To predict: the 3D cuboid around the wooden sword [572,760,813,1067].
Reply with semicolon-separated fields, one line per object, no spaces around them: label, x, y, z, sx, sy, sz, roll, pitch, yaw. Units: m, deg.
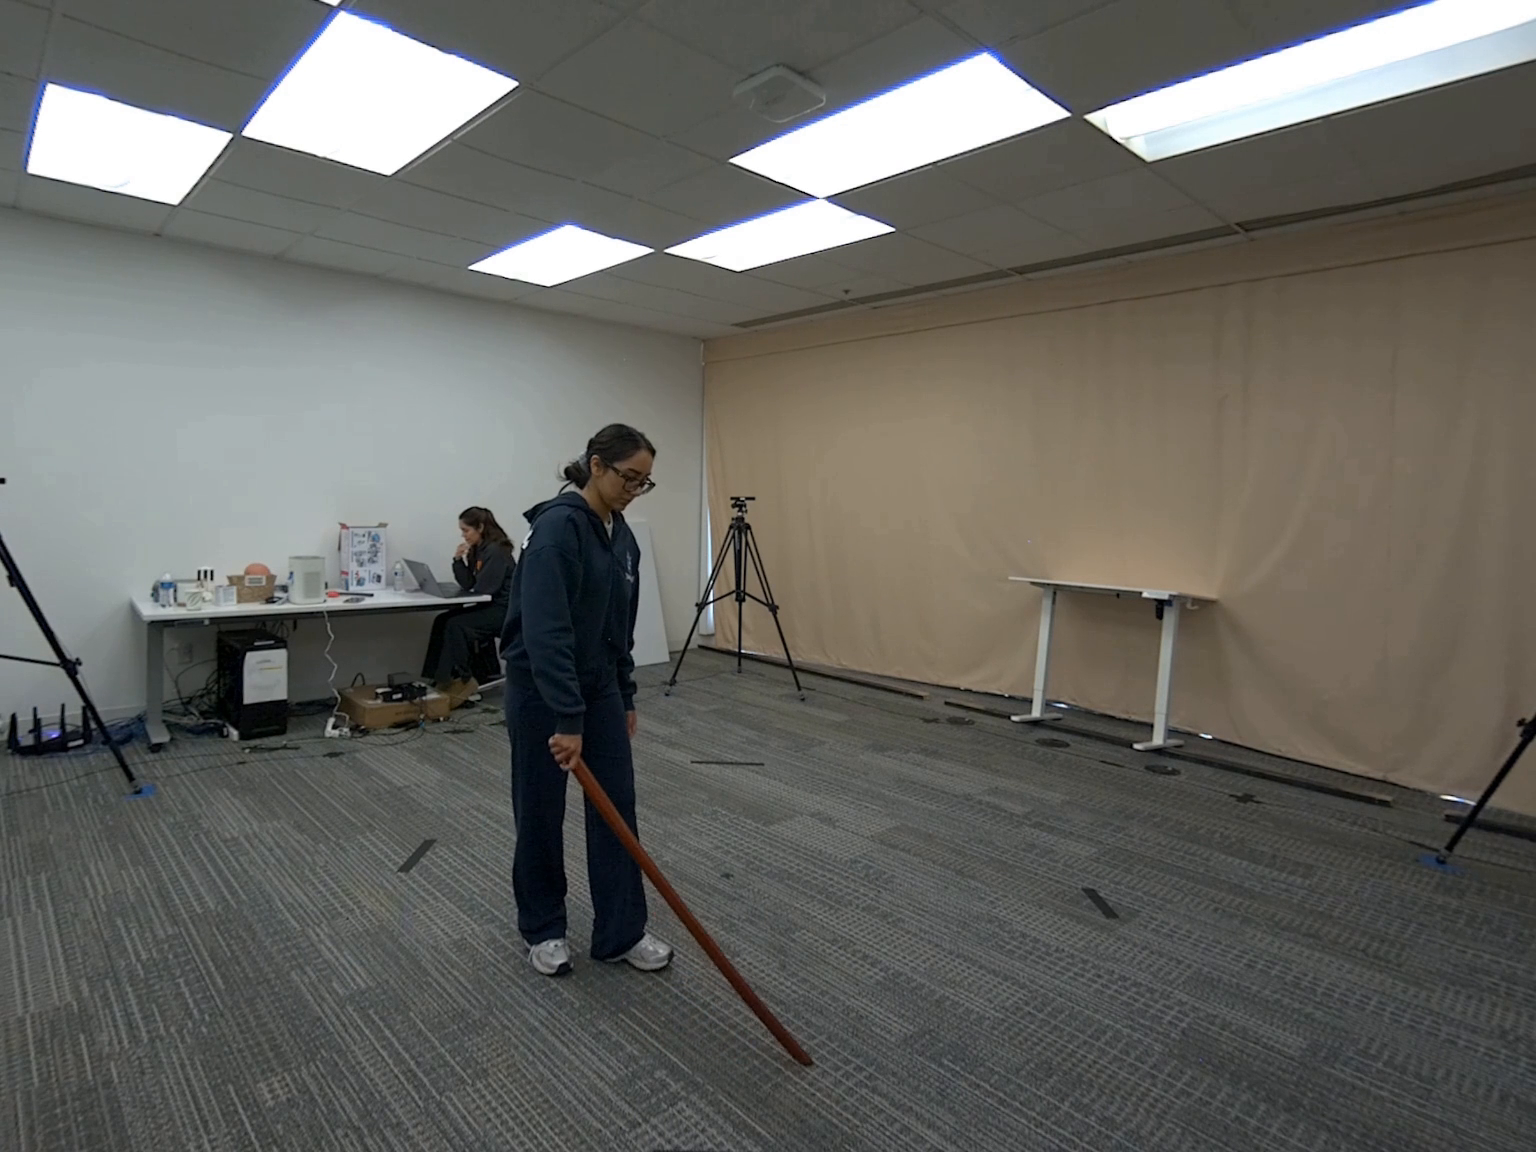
wooden sword;-0.230;0.821;2.106;0.051;1.028;0.024;-39;-3;-10
